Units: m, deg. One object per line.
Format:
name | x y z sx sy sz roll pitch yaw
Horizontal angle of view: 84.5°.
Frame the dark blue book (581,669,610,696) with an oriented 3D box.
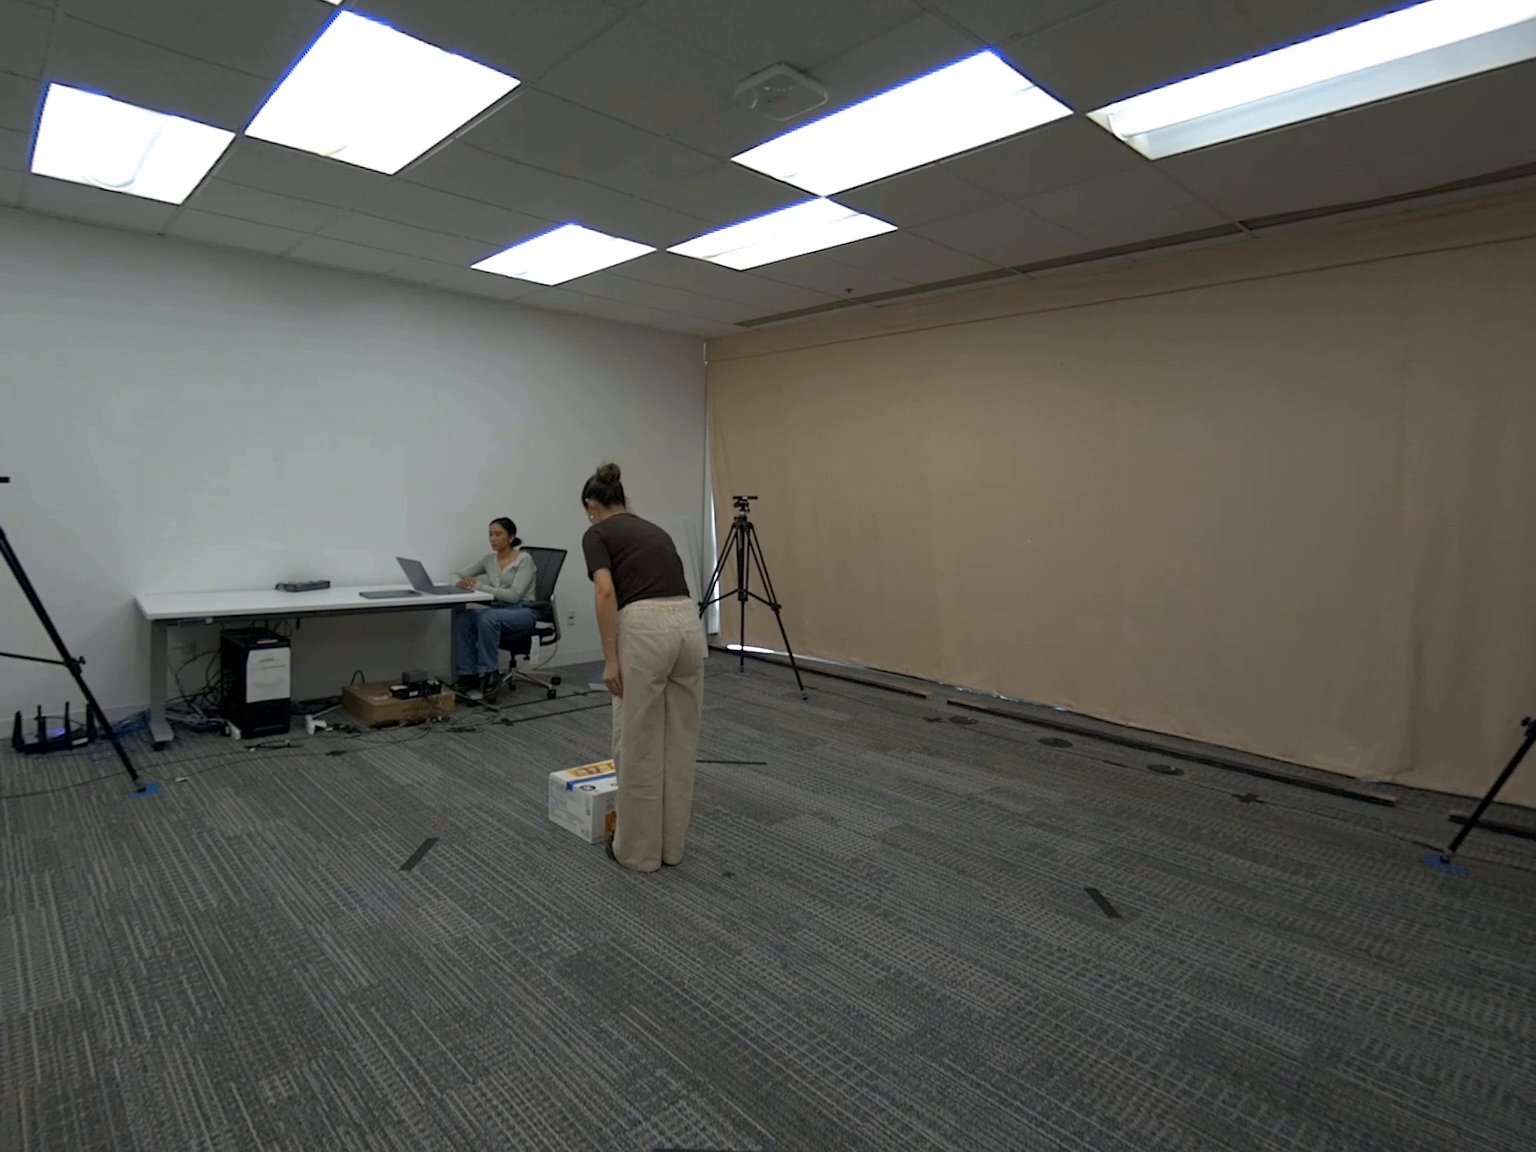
dark blue book | -0.662 0.428 3.536 0.162 0.045 0.249 -33 13 -29
